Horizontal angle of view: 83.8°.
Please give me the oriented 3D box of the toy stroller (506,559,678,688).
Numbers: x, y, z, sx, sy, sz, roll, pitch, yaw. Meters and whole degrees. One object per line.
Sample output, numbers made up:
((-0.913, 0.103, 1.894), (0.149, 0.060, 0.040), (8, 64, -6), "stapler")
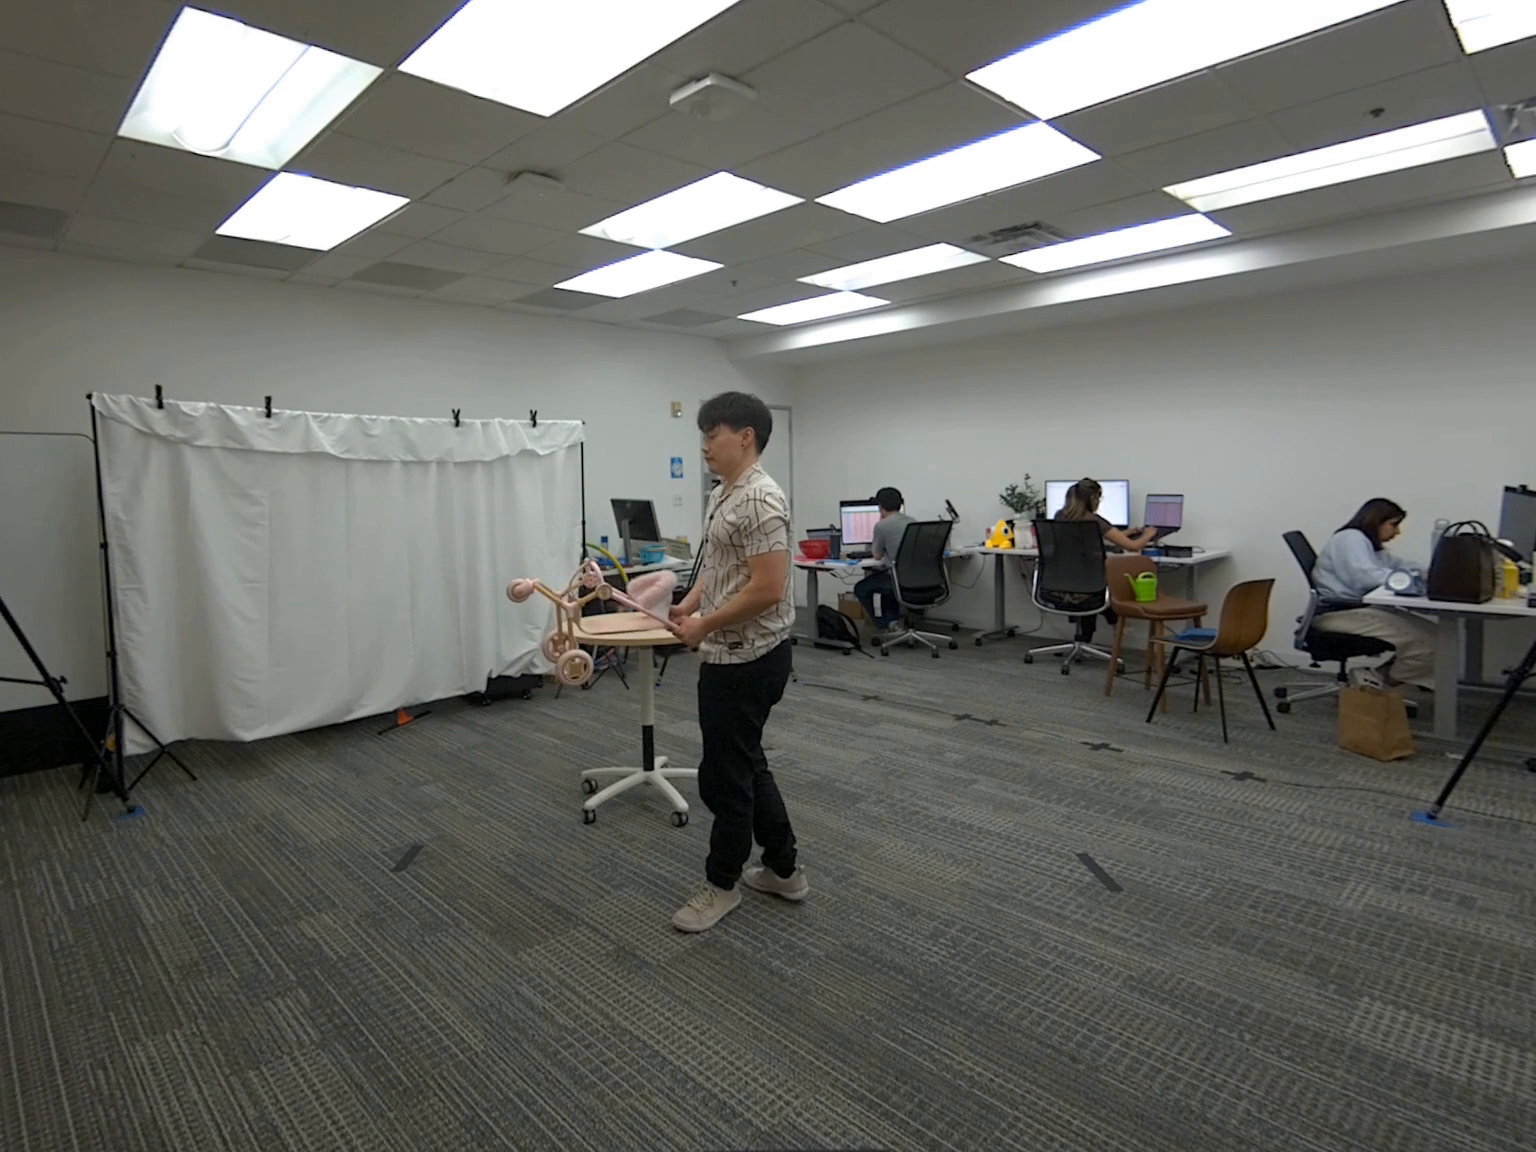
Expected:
((-0.492, 0.101, 2.609), (0.529, 0.338, 0.288), (-17, 10, -18), "toy stroller")
